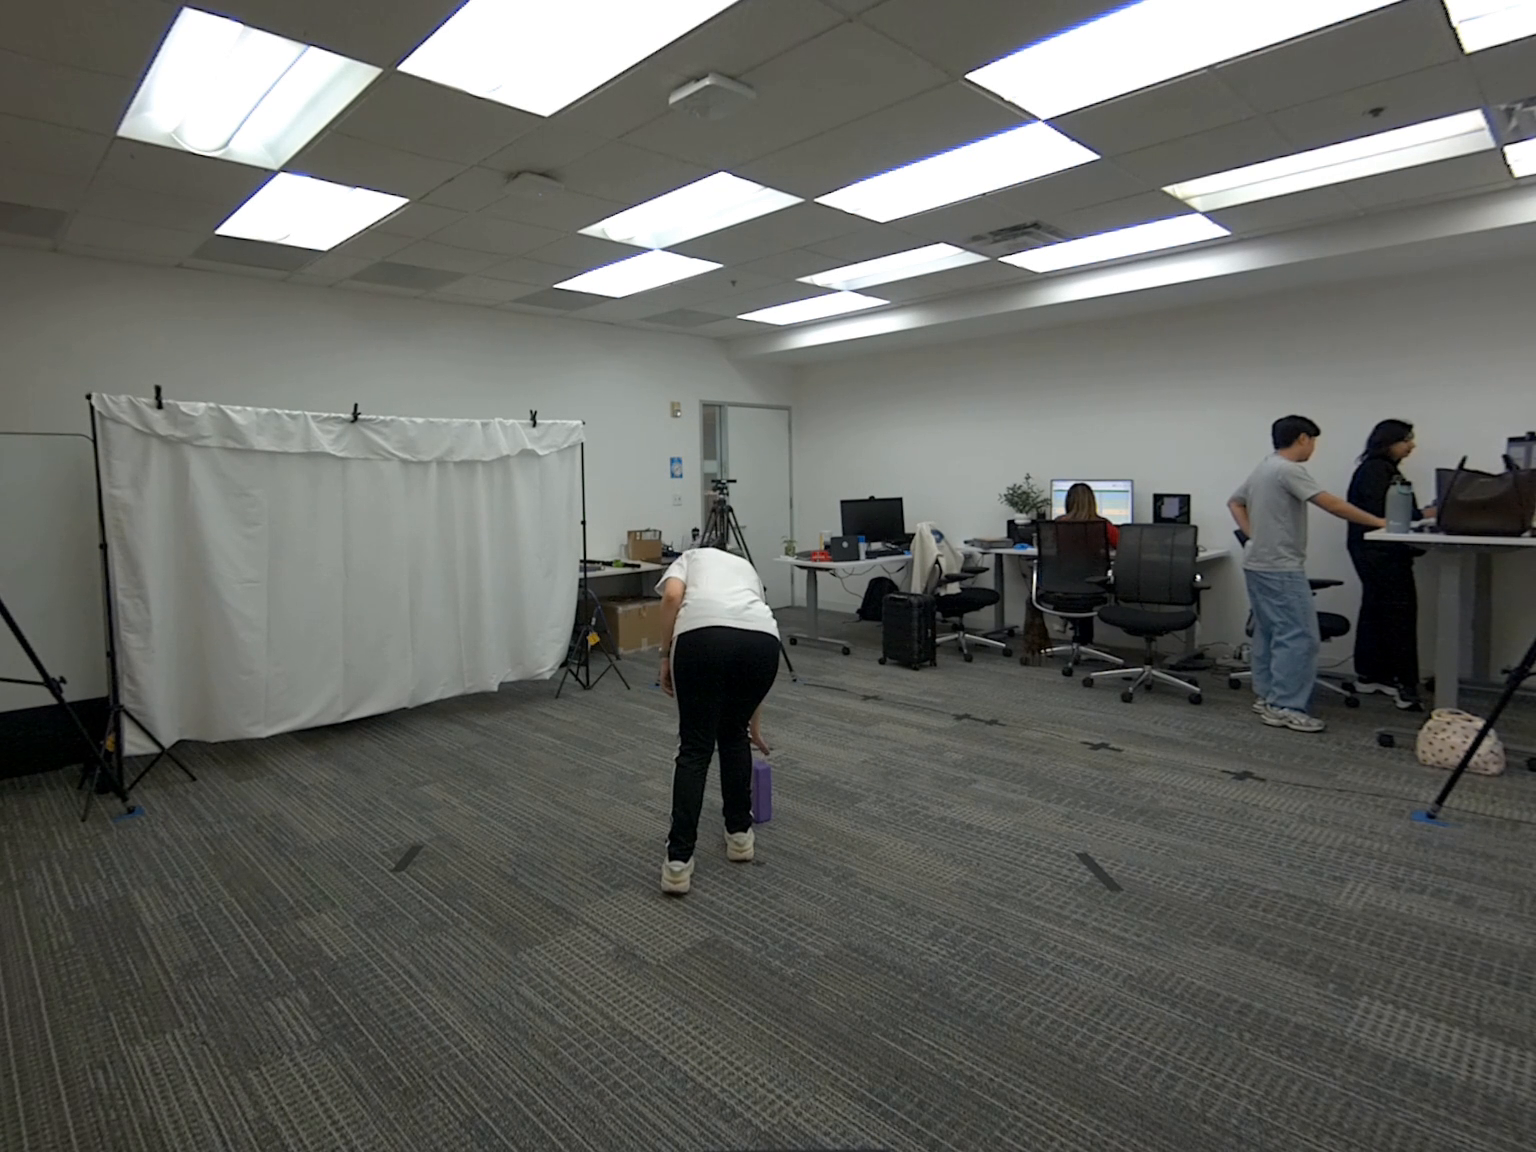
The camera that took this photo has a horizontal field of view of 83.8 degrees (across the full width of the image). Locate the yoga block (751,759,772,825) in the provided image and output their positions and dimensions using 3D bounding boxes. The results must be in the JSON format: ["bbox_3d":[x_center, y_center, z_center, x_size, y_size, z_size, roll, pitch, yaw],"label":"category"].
[{"bbox_3d":[-0.053,0.883,3.541,0.074,0.228,0.153,-3,5,-36],"label":"yoga block"}]
